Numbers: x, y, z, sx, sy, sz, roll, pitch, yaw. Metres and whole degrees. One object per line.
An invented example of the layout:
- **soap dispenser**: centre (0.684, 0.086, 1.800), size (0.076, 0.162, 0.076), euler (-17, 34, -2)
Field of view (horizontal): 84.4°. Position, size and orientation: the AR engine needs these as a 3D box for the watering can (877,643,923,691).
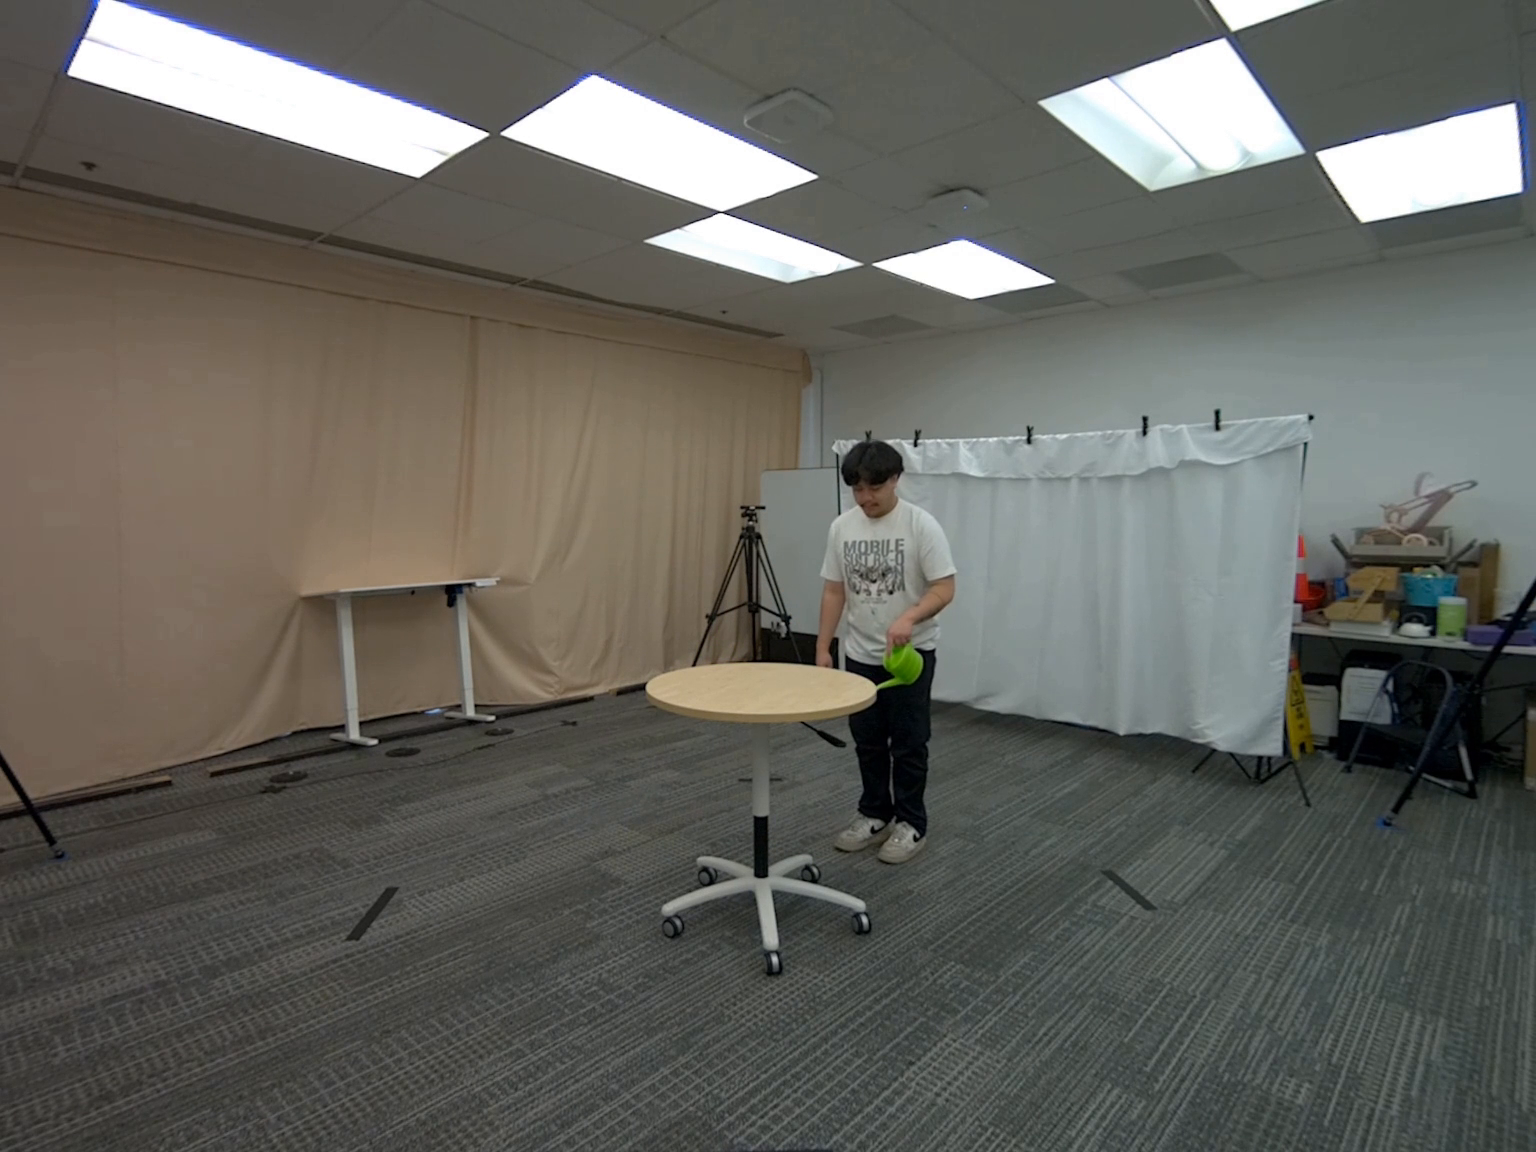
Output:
- **watering can**: centre (0.468, 0.344, 3.101), size (0.101, 0.278, 0.170), euler (14, -19, 47)
